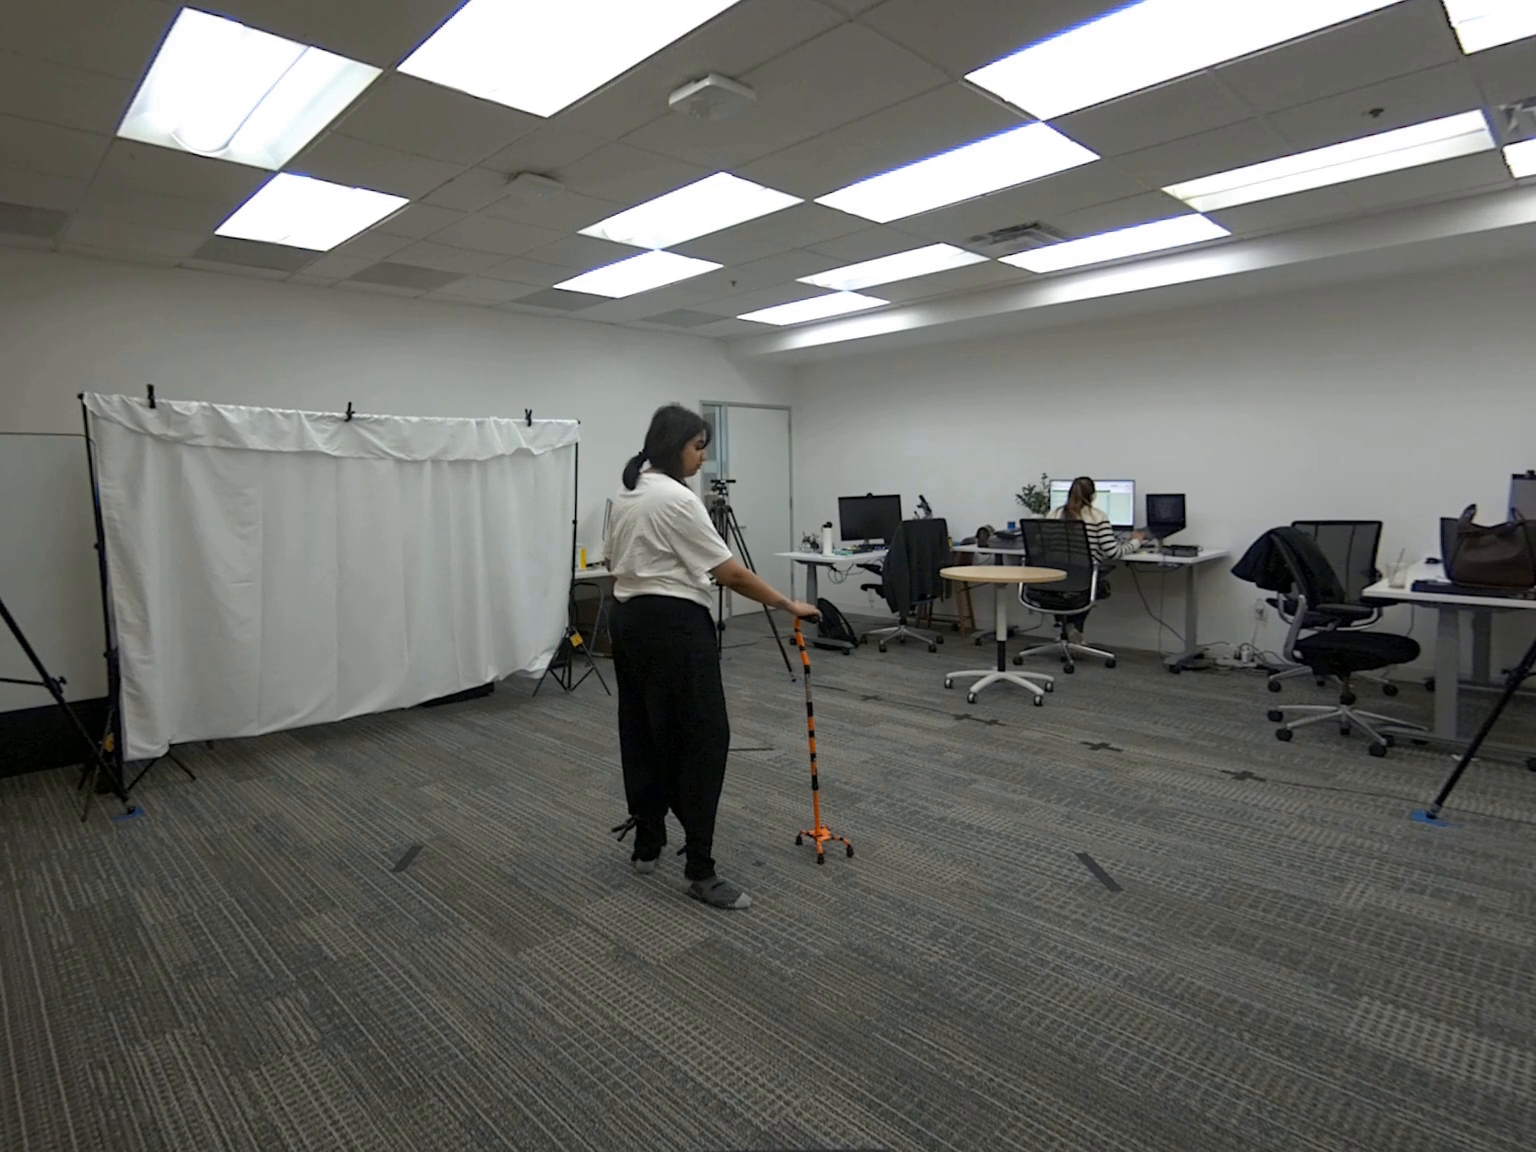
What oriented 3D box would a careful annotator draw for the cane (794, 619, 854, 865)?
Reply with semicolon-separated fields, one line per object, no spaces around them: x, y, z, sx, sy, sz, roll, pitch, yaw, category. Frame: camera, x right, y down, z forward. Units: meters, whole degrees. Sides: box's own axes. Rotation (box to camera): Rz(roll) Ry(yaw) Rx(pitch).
0.175;0.577;3.171;0.149;0.903;0.211;-7;6;-24;cane
